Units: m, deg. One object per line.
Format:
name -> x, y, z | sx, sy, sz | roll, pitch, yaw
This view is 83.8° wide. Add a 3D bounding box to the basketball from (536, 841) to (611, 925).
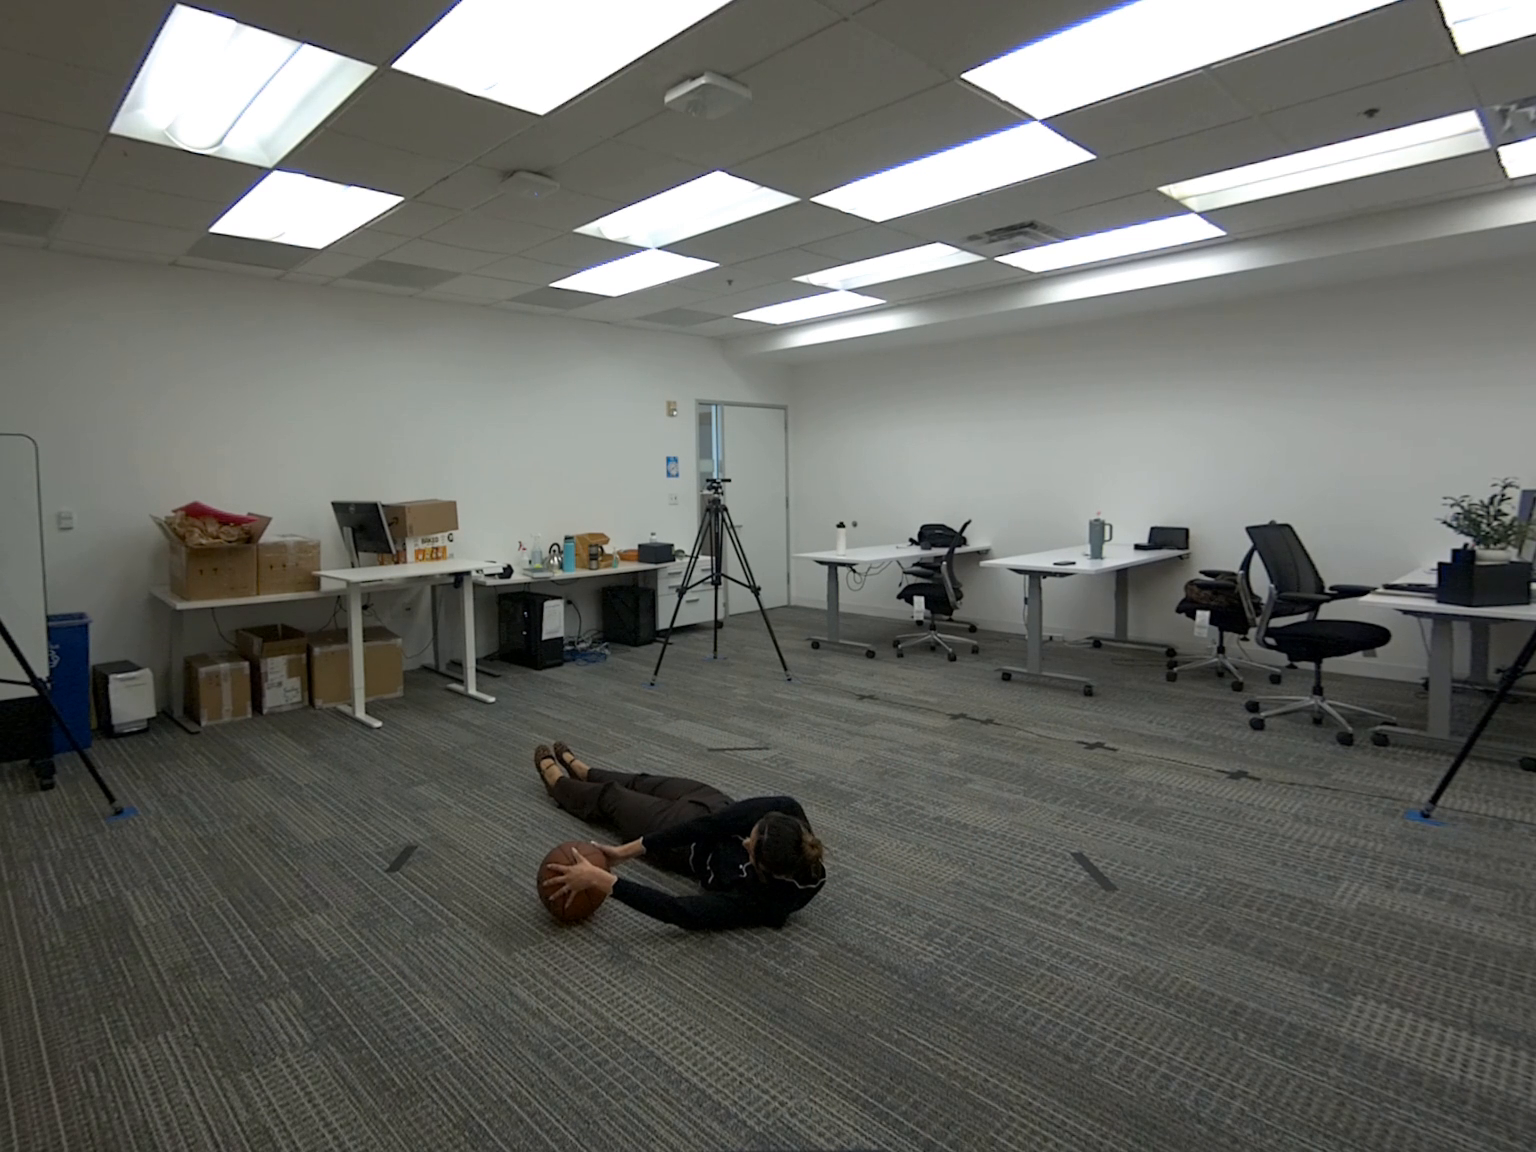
basketball -> -0.617, 0.980, 2.750 | 0.236, 0.235, 0.237 | -1, 5, -2
